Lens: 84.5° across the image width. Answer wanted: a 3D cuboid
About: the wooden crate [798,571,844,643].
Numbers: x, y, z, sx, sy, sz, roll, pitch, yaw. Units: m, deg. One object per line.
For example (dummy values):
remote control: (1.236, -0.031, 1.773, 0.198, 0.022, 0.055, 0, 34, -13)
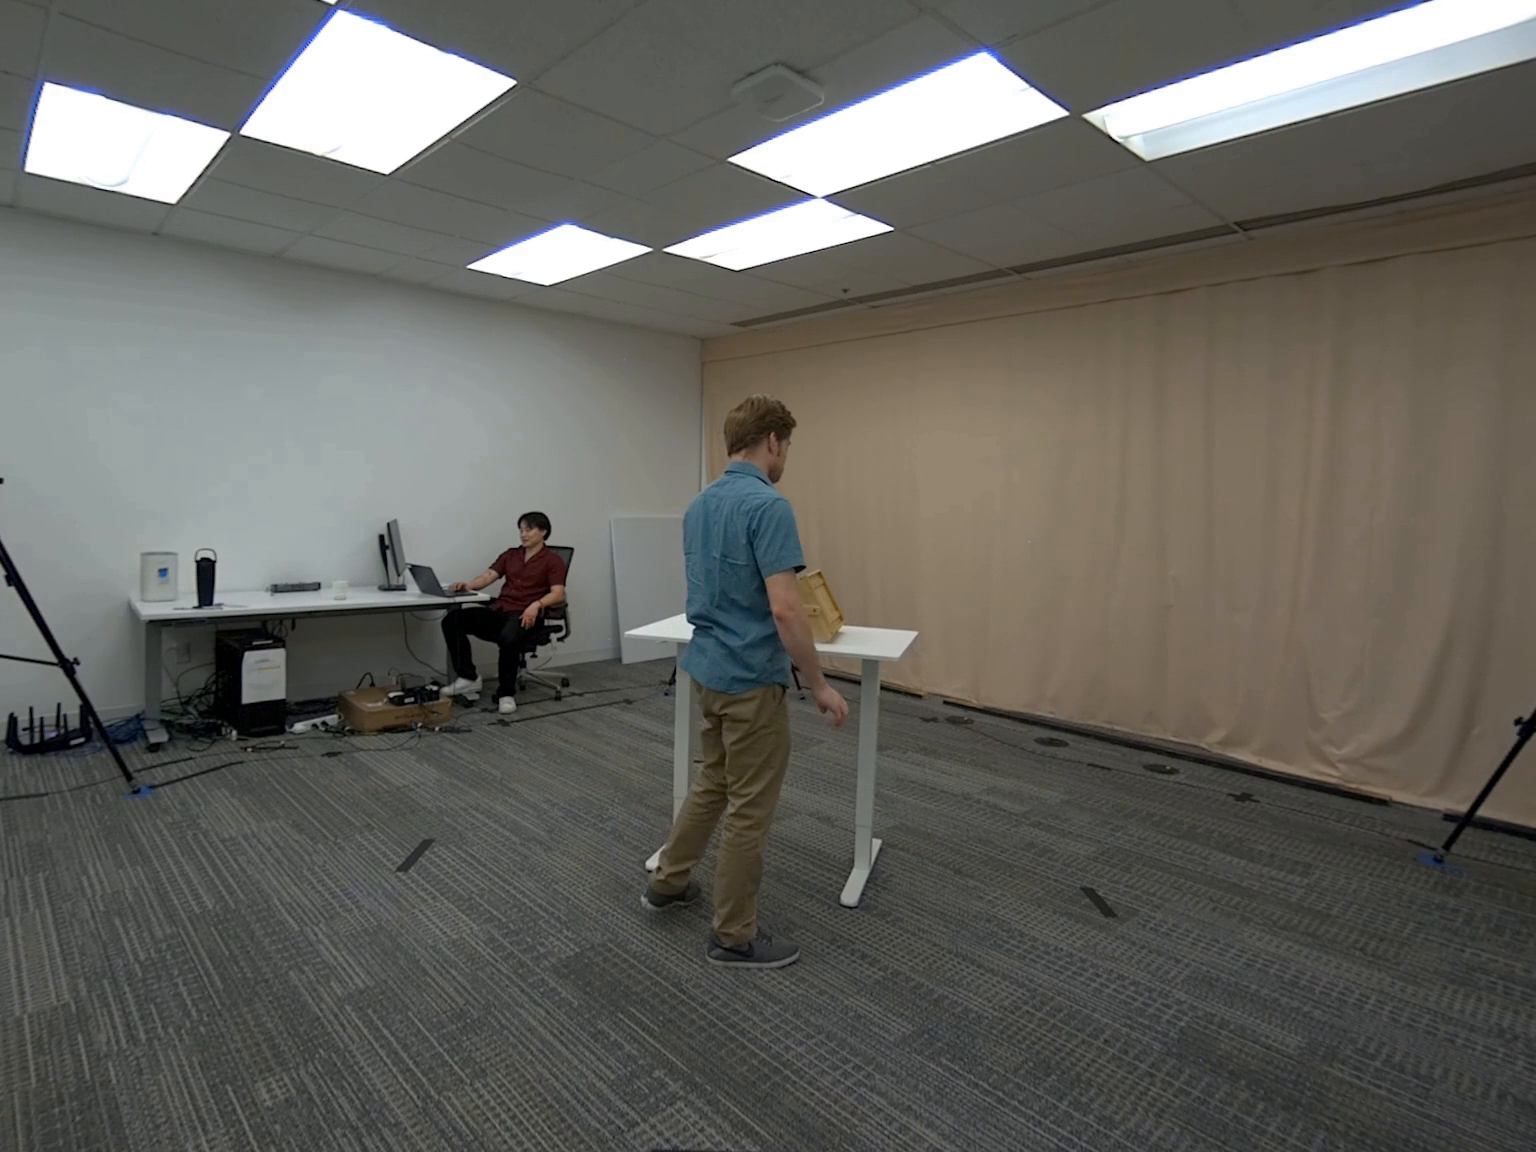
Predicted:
wooden crate: (0.087, 0.131, 3.169, 0.275, 0.303, 0.321, -25, -3, 15)
